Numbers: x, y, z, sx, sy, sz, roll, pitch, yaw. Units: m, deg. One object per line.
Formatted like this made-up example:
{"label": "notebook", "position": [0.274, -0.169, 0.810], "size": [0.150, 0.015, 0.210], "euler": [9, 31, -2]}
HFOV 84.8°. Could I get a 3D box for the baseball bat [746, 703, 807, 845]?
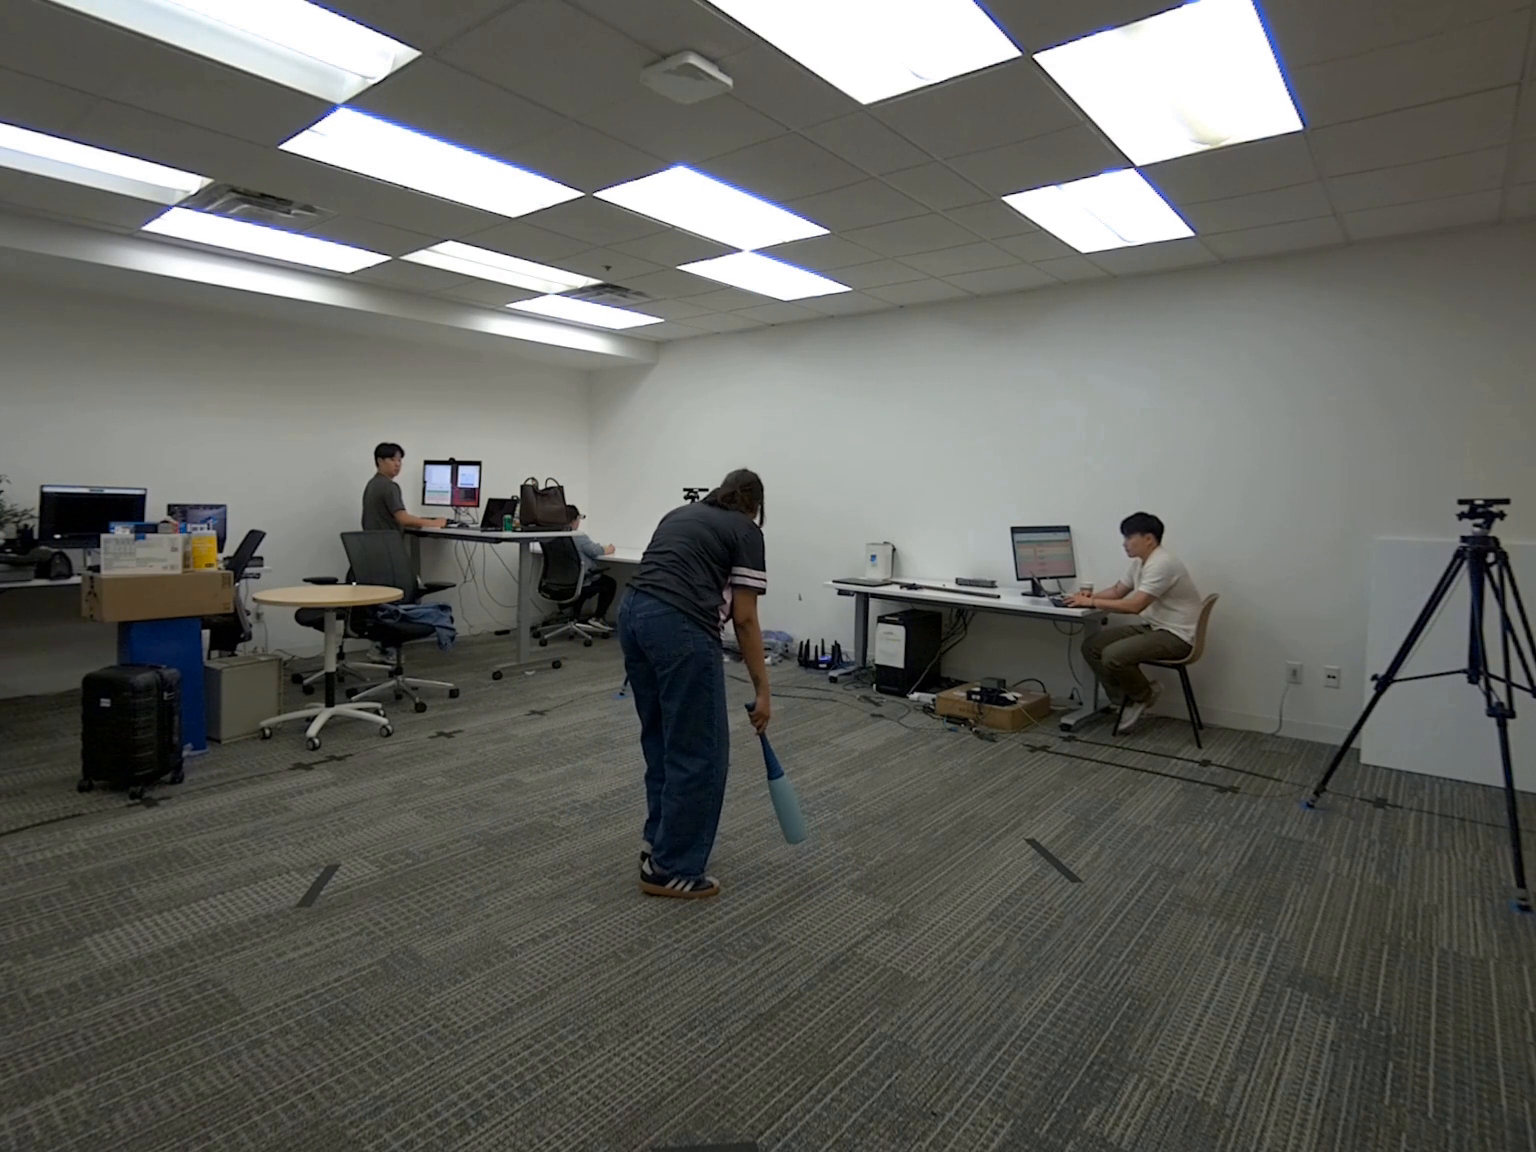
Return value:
{"label": "baseball bat", "position": [0.014, 0.718, 3.093], "size": [0.089, 0.541, 0.089], "euler": [-20, 3, 0]}
